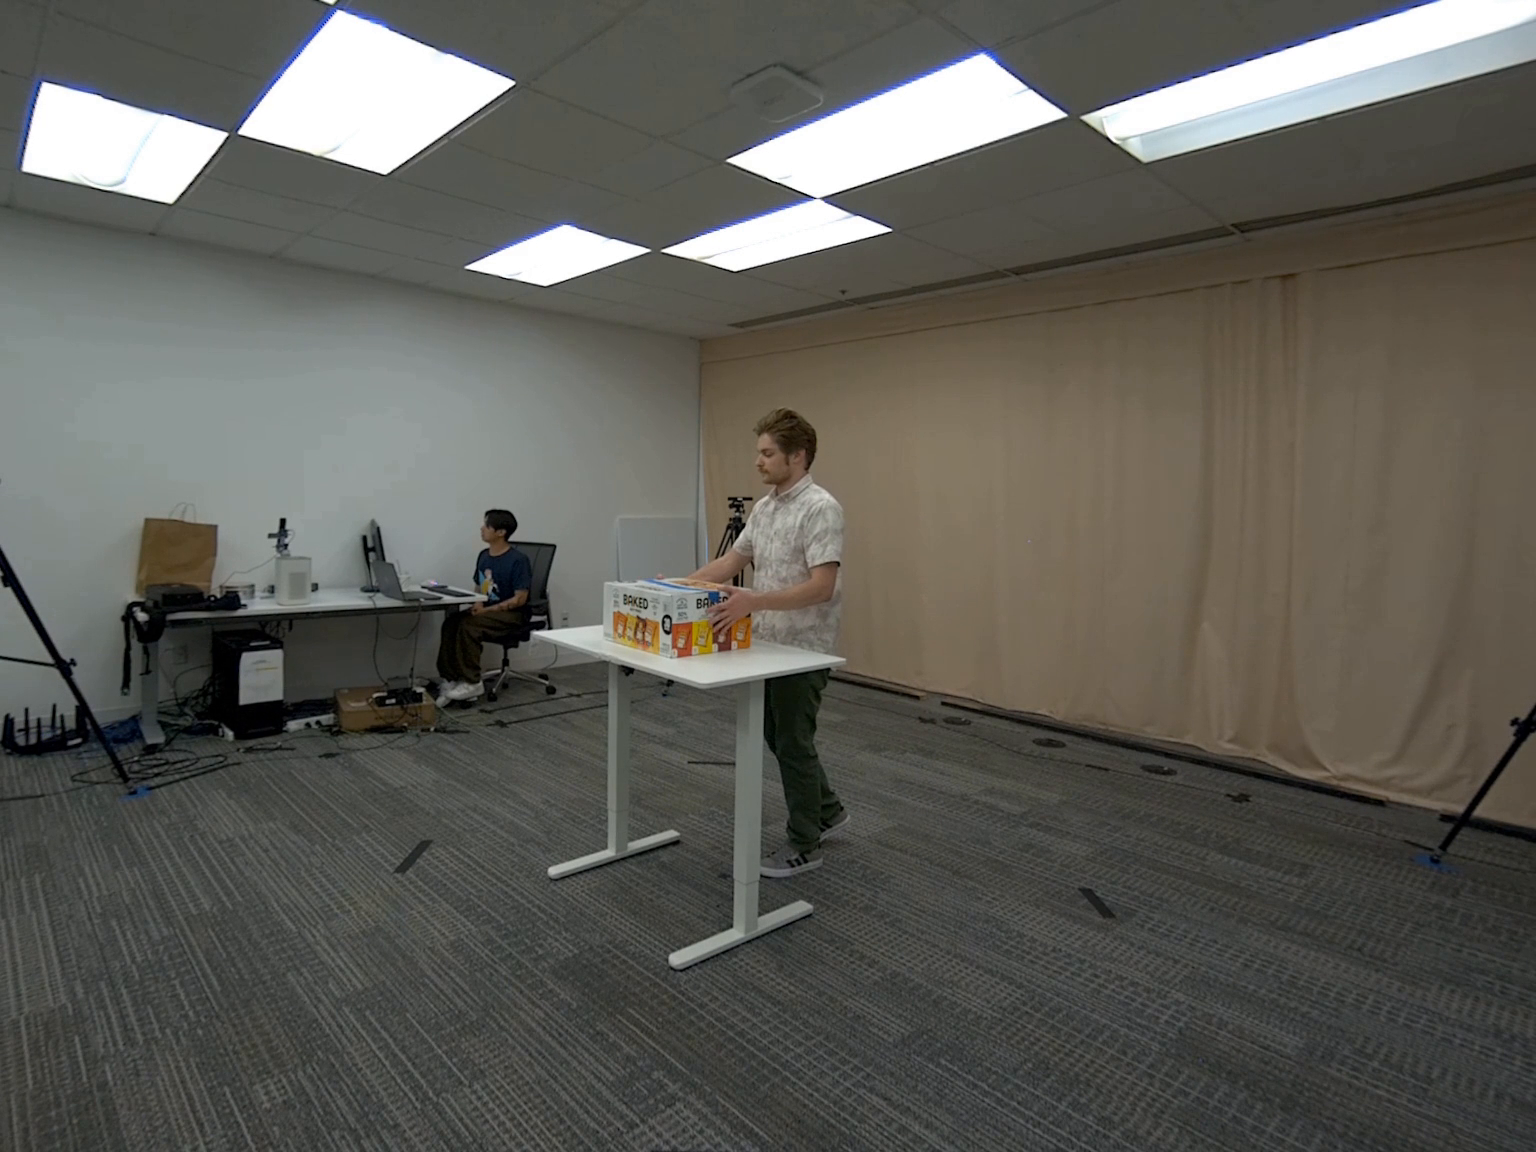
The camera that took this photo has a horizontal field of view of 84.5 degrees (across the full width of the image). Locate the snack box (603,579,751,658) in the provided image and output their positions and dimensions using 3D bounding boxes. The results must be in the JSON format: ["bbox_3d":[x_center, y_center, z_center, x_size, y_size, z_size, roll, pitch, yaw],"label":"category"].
[{"bbox_3d":[-0.325,0.135,2.911,0.332,0.205,0.416,-2,7,-42],"label":"snack box"}]
